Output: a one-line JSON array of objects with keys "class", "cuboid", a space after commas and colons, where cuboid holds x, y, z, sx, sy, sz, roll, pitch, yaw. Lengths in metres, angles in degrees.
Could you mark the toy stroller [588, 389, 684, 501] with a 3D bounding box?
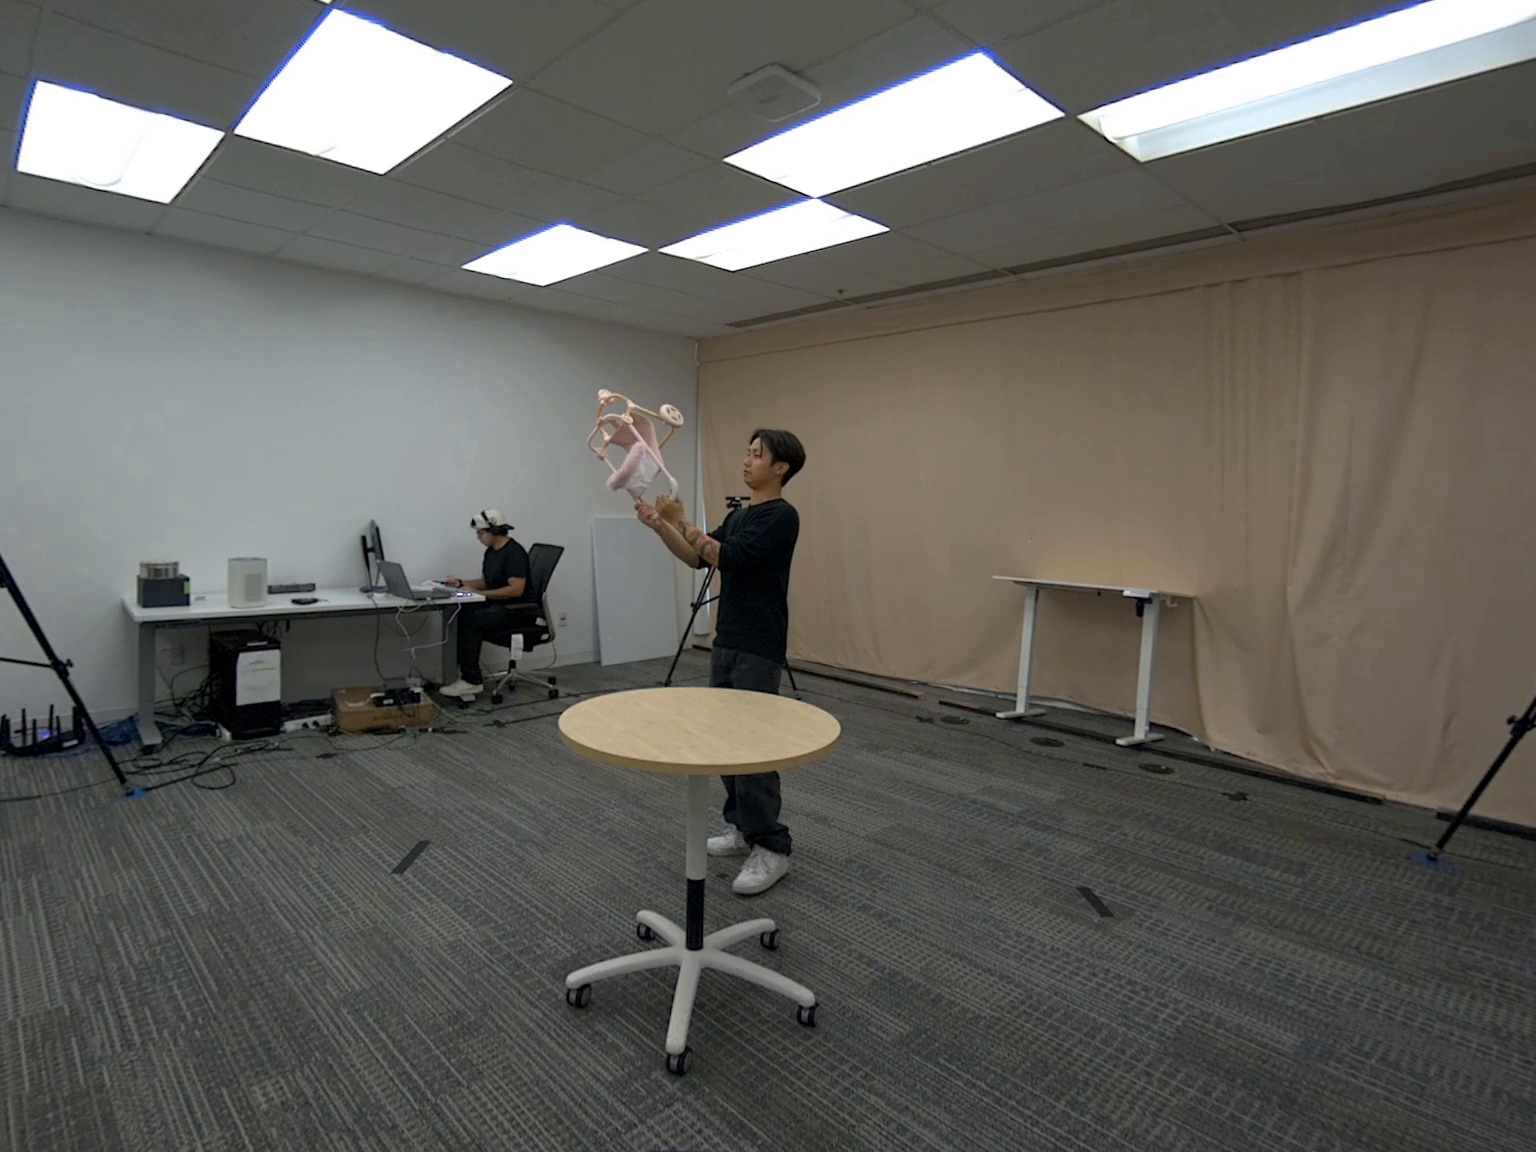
[{"class": "toy stroller", "cuboid": [-0.530, -0.497, 3.247, 0.332, 0.547, 0.282, 30, -54, -29]}]
